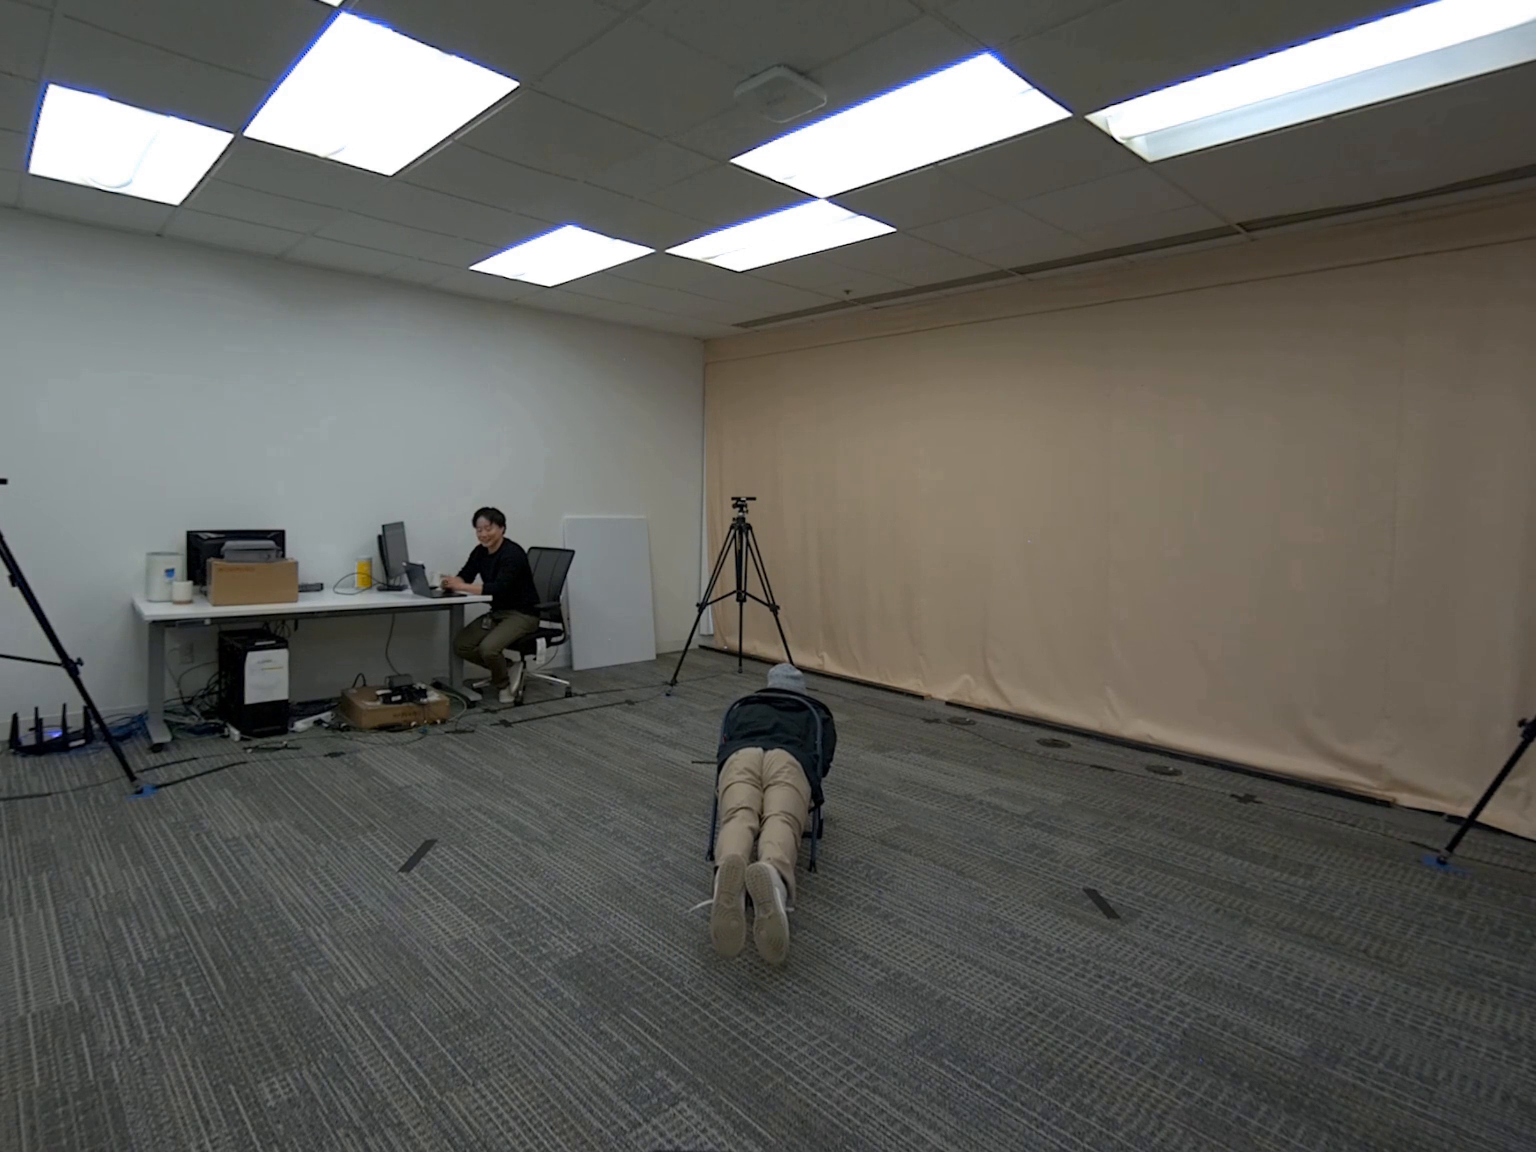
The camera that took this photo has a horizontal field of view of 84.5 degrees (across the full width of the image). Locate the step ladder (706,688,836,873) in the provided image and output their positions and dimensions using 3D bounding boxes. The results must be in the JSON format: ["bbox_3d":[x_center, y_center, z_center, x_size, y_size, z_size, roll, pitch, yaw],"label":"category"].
[{"bbox_3d":[-0.004,0.791,3.354,0.434,0.605,0.347,2,2,9],"label":"step ladder"}]
